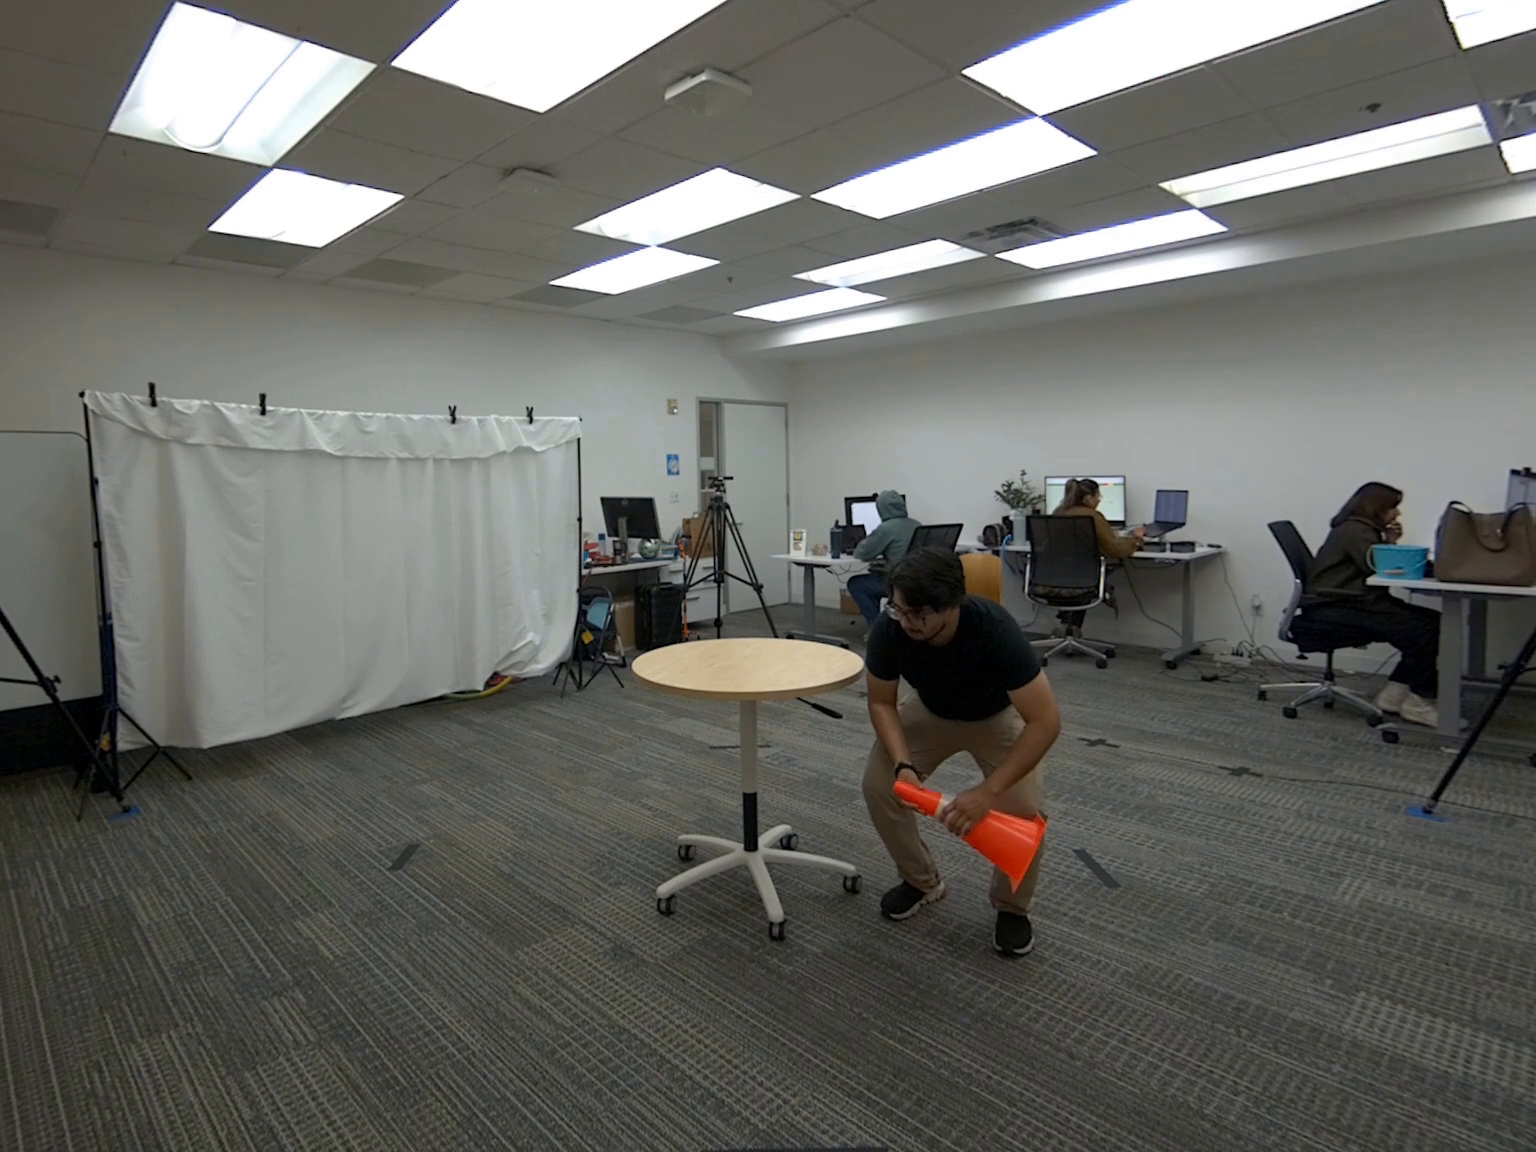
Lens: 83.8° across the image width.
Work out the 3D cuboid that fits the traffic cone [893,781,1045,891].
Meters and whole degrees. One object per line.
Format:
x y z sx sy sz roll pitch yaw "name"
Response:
0.532 0.676 2.346 0.392 0.206 0.198 23 -12 16 "traffic cone"
